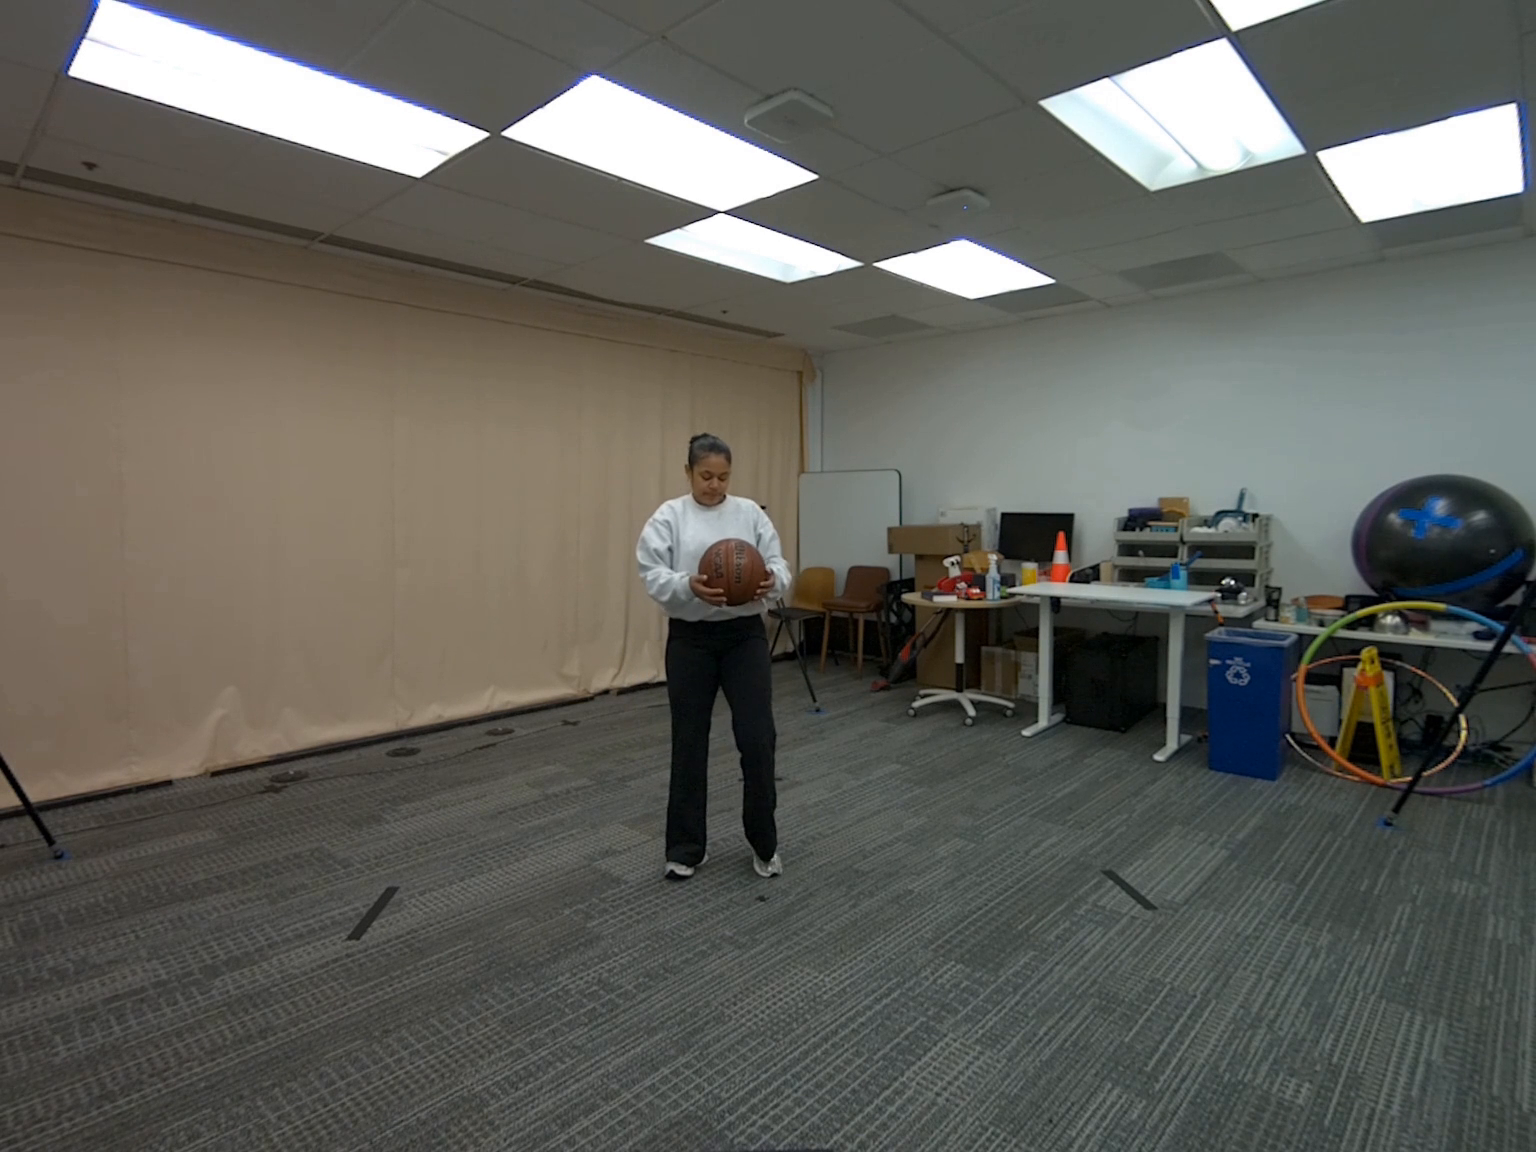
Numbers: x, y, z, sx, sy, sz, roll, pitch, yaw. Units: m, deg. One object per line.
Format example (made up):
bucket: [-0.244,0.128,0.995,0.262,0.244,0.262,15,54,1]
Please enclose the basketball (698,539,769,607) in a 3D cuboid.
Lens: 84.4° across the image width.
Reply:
basketball: [-0.123,-0.012,2.941,0.236,0.235,0.237,0,4,-2]
